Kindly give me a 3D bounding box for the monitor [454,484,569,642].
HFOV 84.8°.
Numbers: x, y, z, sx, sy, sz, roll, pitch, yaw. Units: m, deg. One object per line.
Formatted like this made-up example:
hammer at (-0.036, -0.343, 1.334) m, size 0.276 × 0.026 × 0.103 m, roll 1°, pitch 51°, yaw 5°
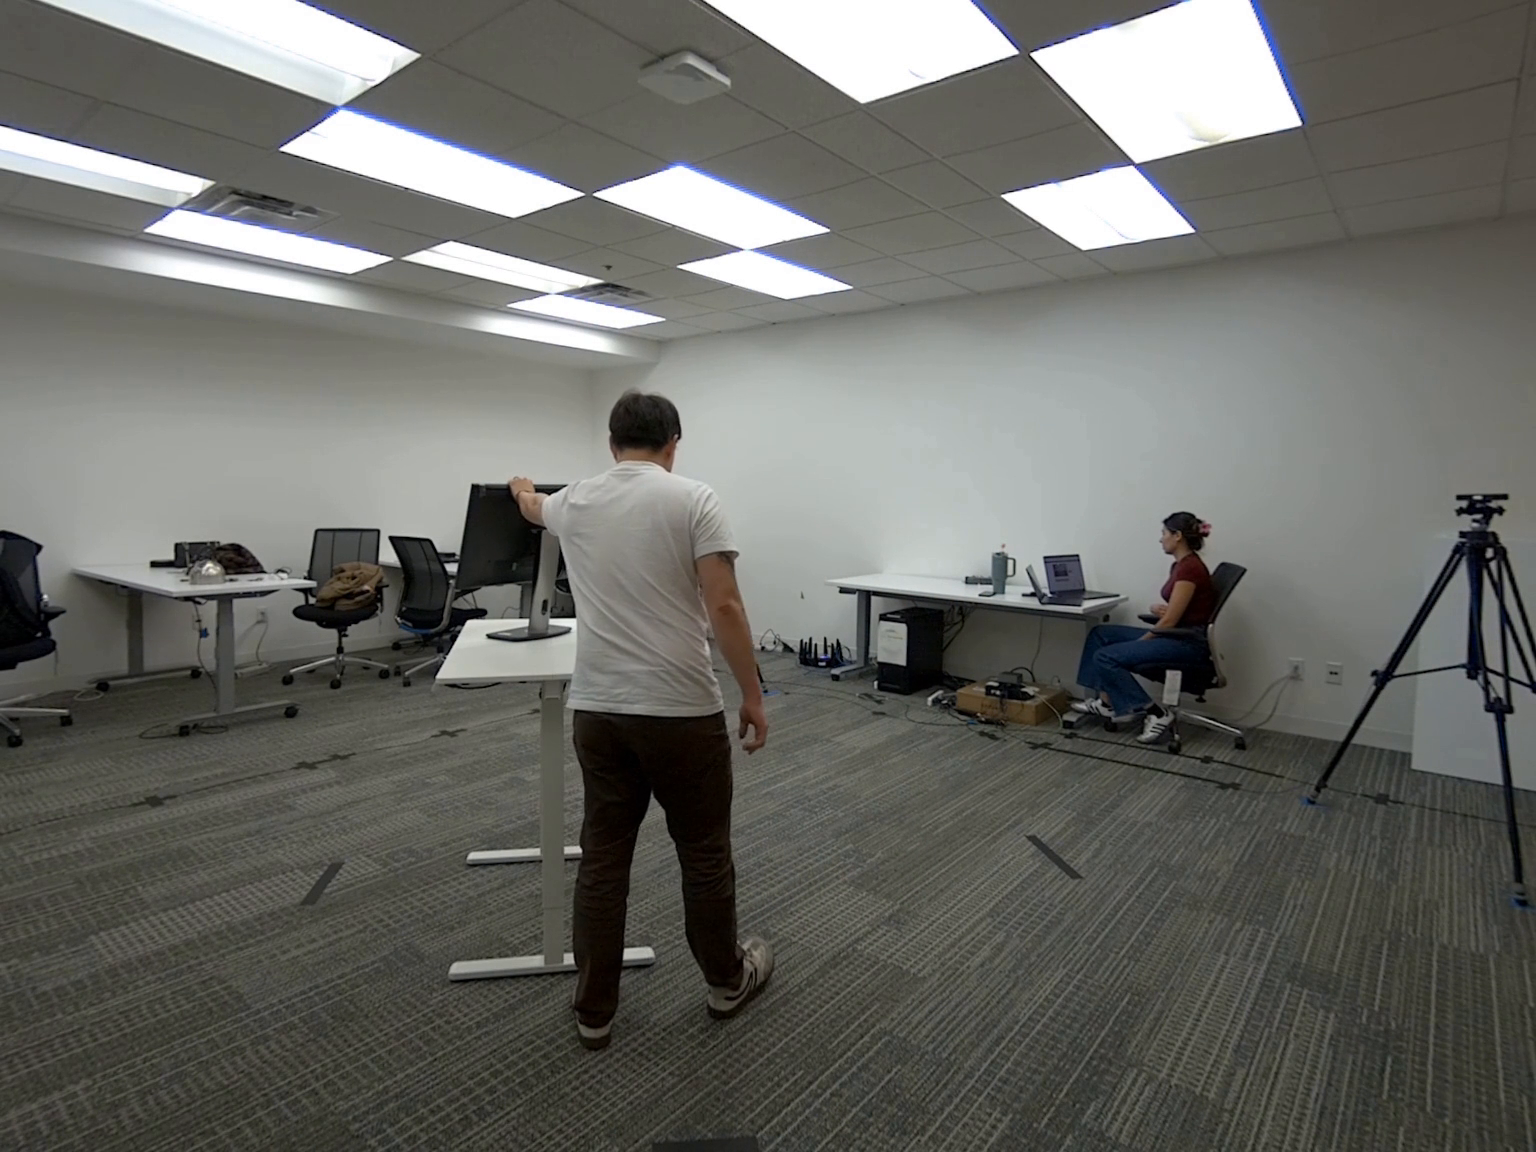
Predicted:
monitor at (-0.807, -0.051, 2.877) m, size 0.193 × 0.520 × 0.524 m, roll 5°, pitch 6°, yaw 33°
